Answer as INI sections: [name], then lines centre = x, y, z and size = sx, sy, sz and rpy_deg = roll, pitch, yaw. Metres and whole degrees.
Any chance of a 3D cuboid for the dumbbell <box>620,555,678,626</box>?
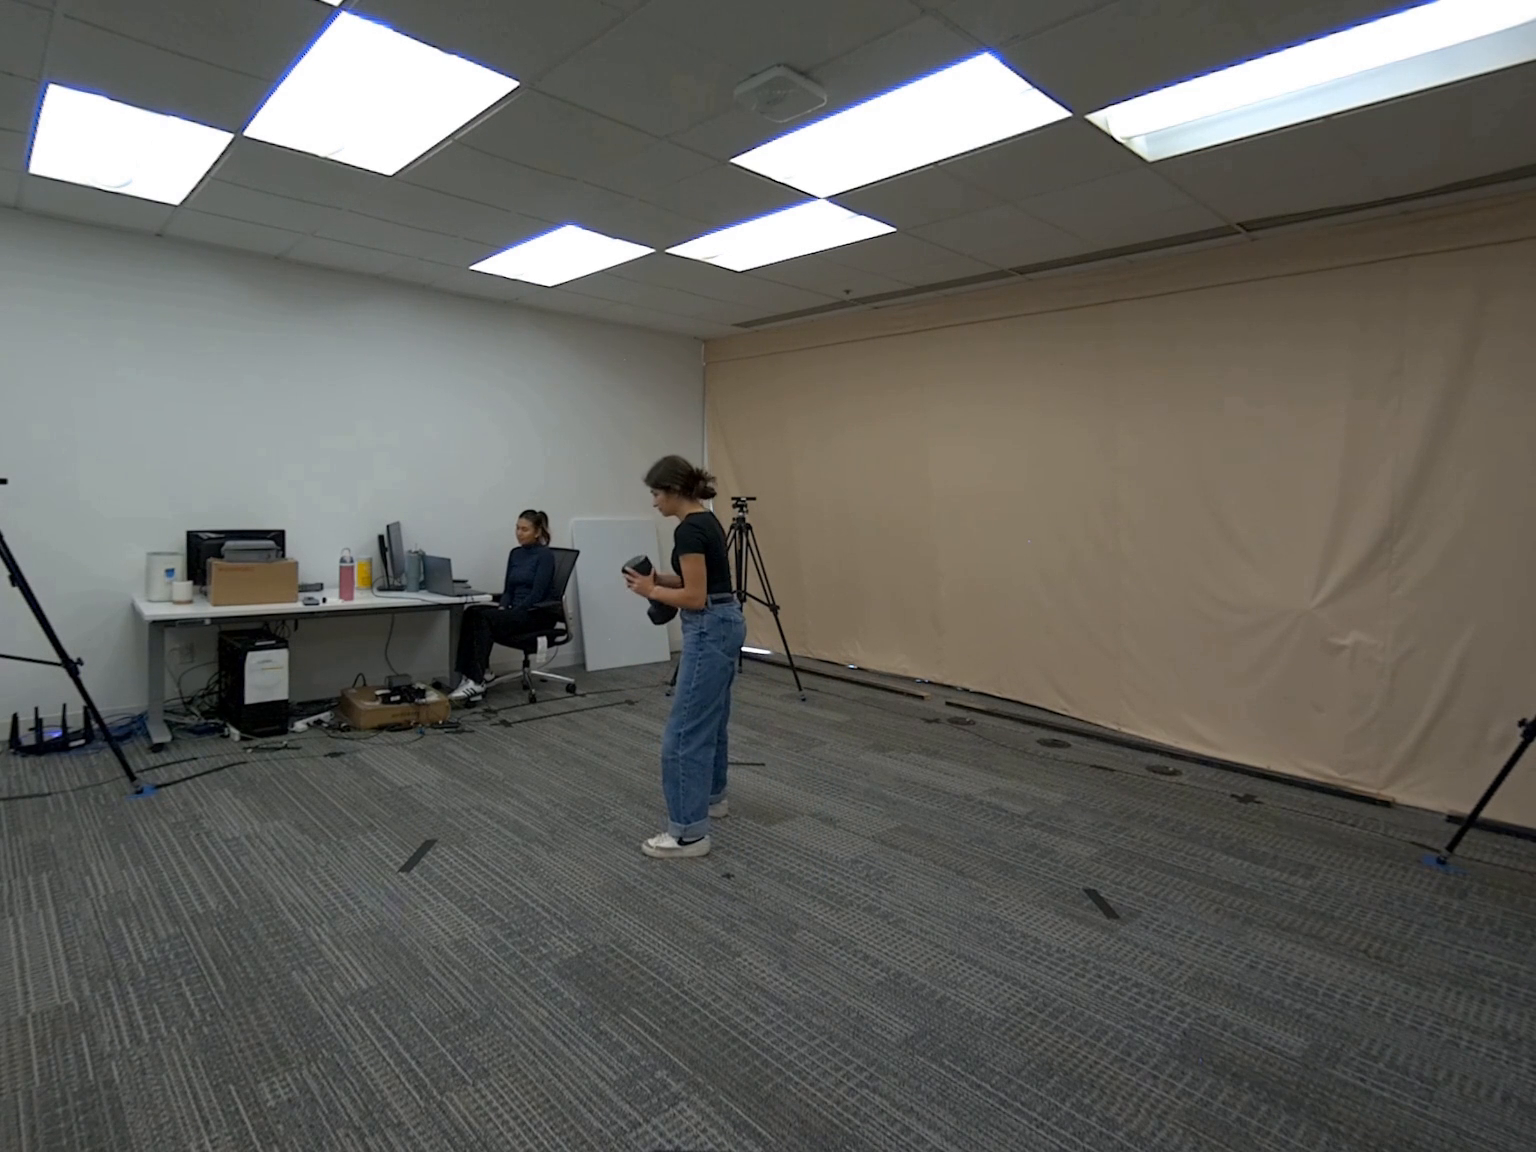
[dumbbell]
centre = -0.490, 0.062, 3.504
size = 0.122, 0.289, 0.110
rpy_deg = -30, 15, -8
